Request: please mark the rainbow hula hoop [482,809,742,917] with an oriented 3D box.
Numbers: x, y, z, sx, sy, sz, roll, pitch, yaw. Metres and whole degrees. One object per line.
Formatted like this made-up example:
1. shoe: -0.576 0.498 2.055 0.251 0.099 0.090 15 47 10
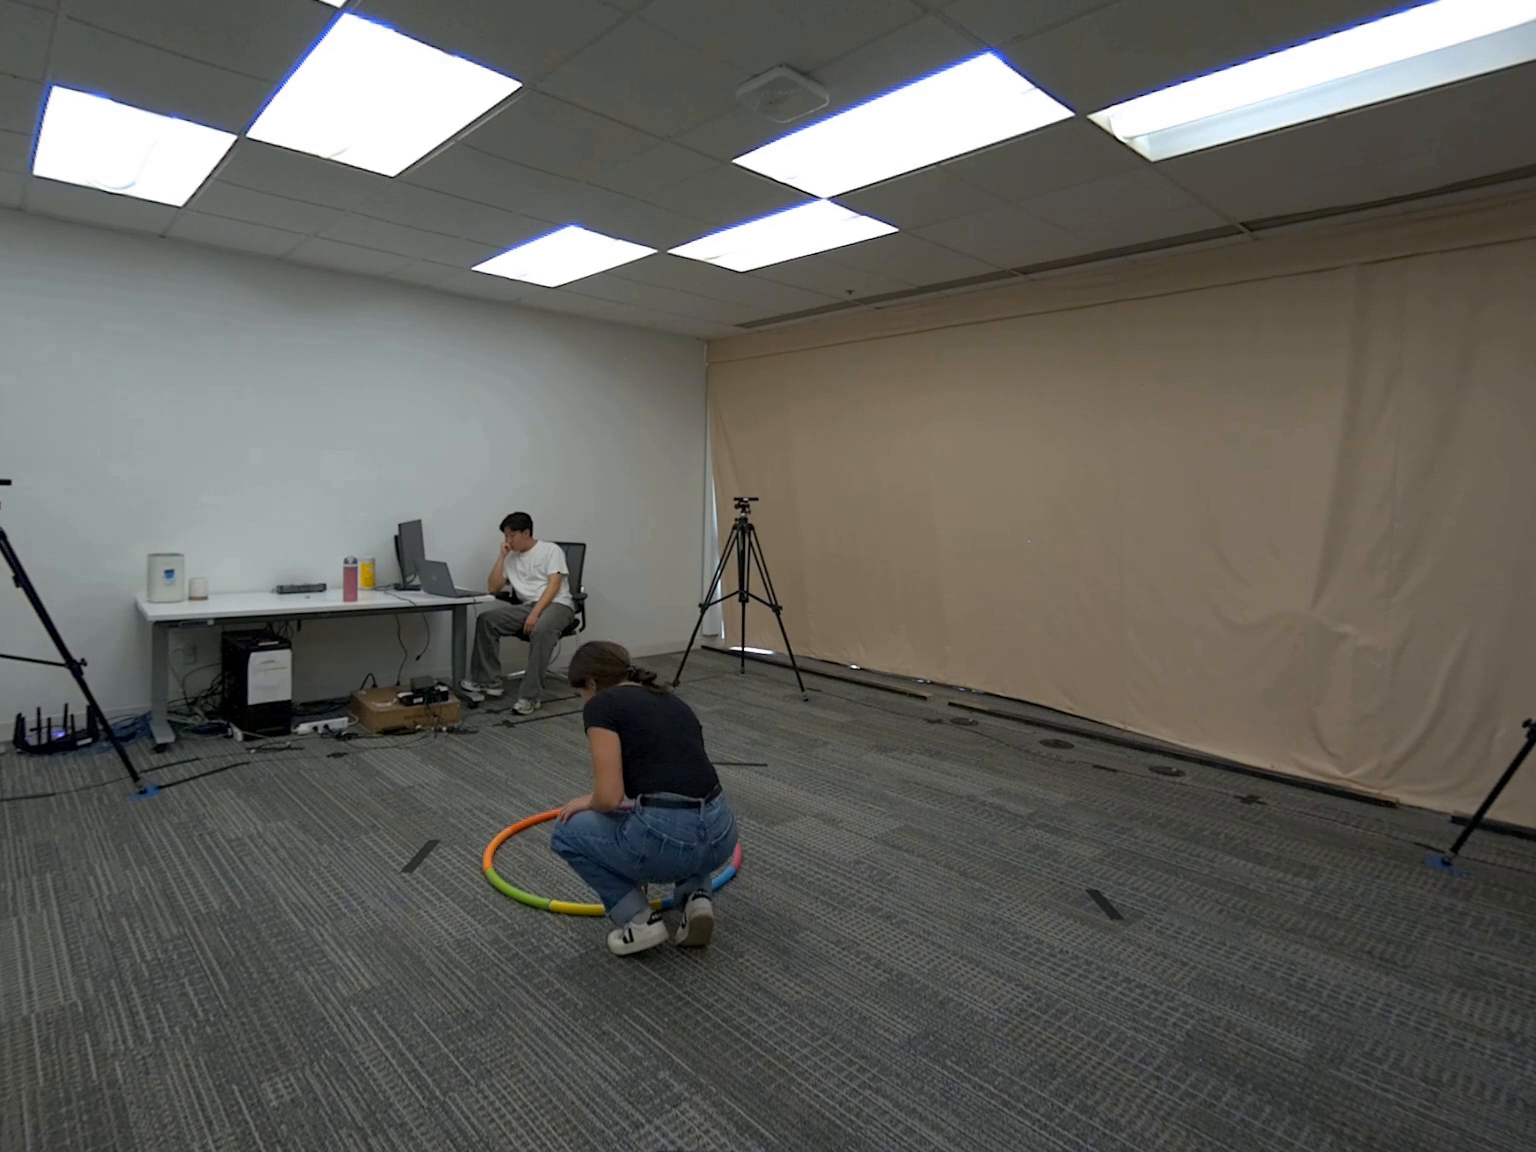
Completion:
1. rainbow hula hoop: -0.595 1.057 3.259 0.978 0.035 0.982 1 5 -1
